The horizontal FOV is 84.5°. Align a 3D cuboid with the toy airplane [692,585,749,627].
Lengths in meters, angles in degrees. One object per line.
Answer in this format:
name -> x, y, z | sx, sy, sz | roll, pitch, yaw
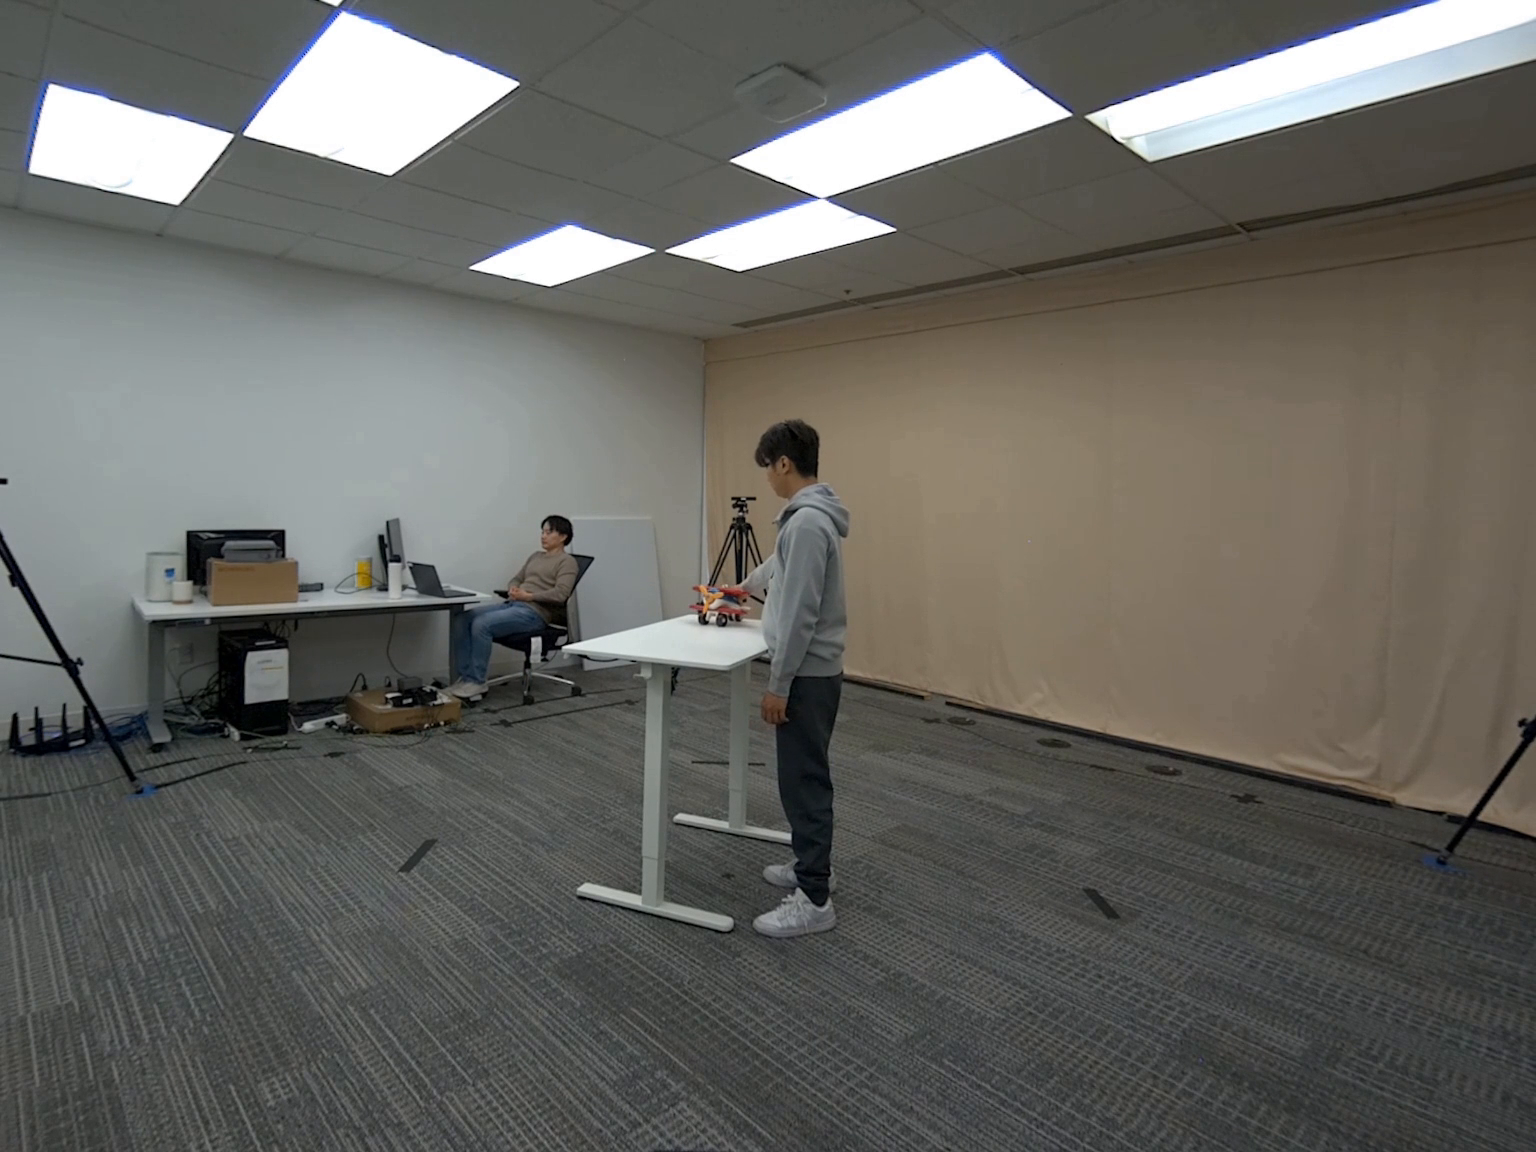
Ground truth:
toy airplane -> -0.206, 0.118, 3.453 | 0.251, 0.156, 0.260 | 2, 5, 0
